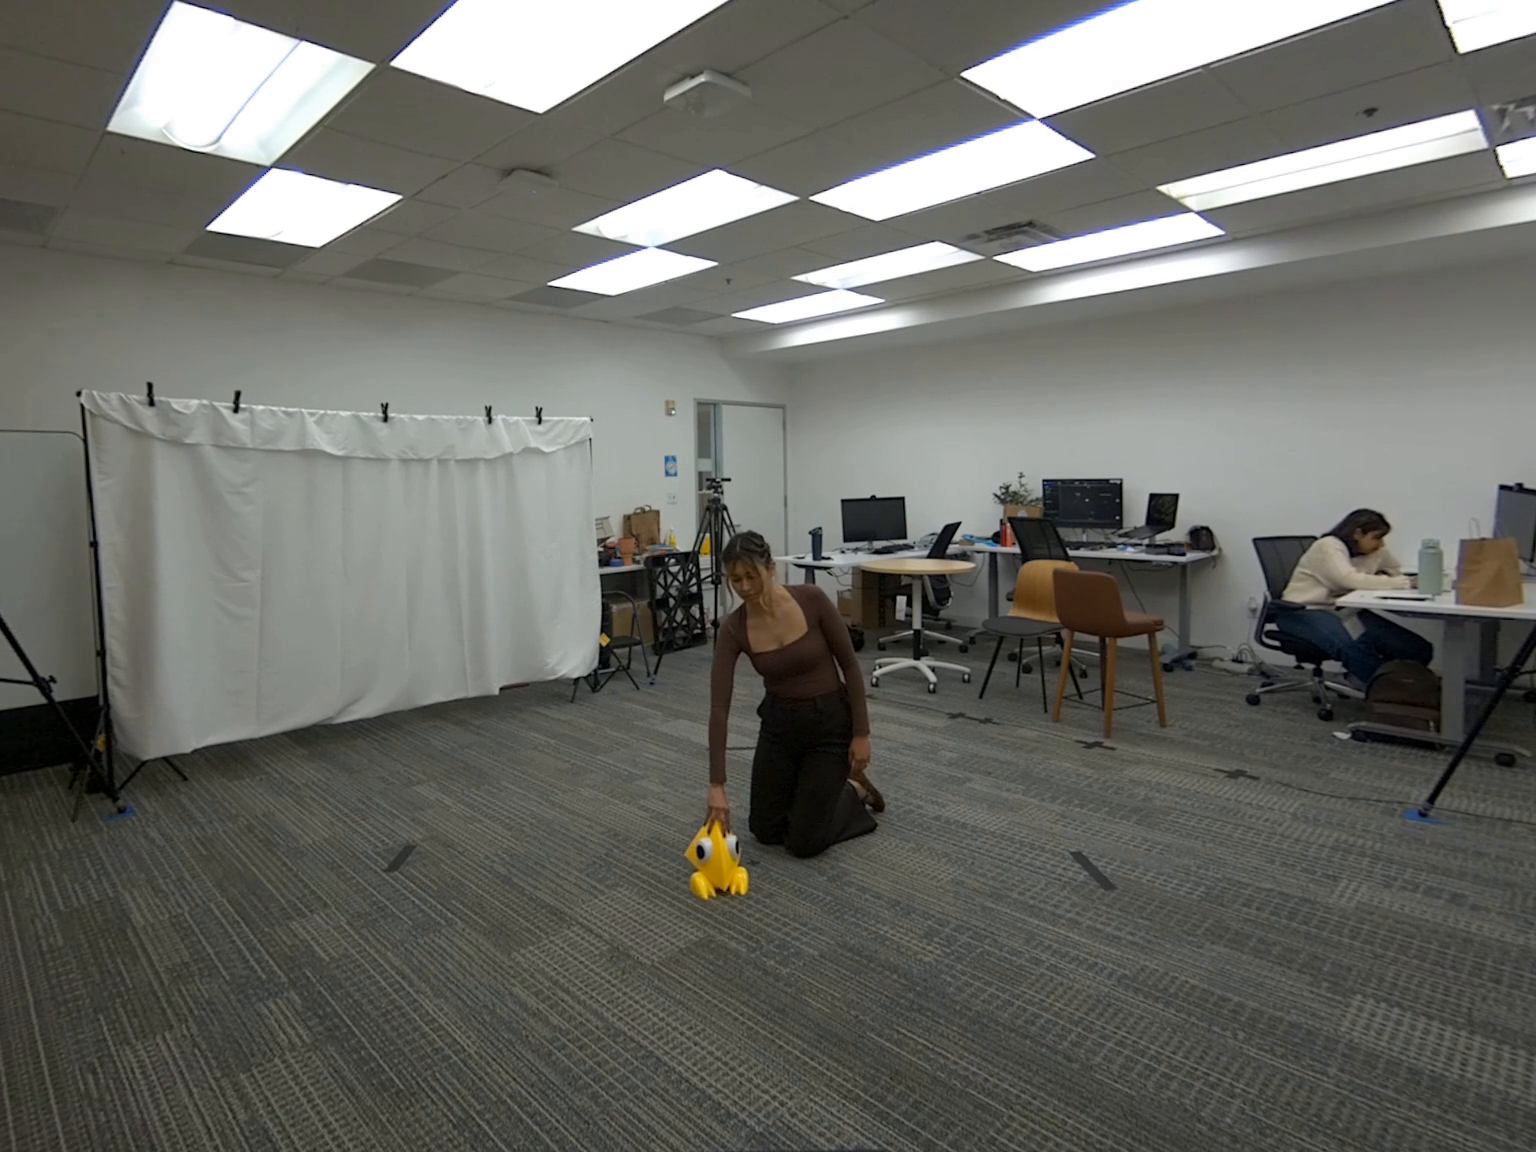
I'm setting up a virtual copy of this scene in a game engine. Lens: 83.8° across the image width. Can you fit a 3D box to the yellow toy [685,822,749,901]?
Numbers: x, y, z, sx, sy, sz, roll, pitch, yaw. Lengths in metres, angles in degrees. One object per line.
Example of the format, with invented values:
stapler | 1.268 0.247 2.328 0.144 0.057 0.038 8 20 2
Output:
yellow toy | -0.172 0.950 2.934 0.202 0.230 0.196 -1 3 -13
